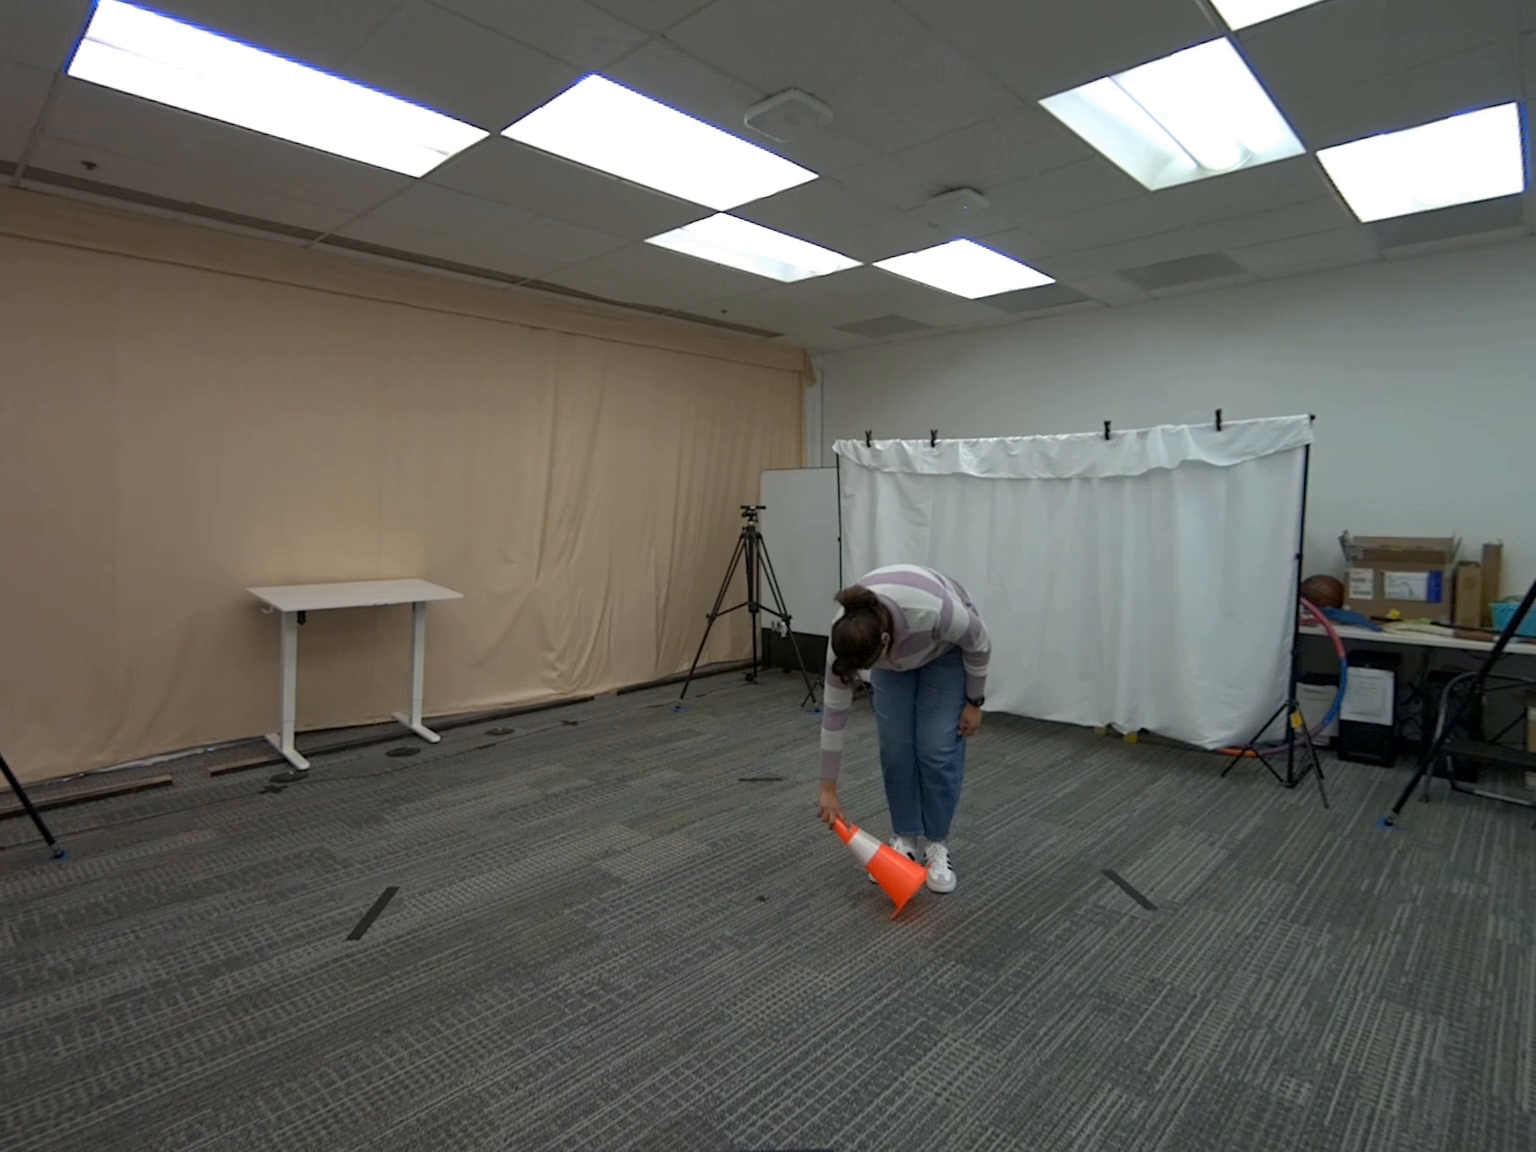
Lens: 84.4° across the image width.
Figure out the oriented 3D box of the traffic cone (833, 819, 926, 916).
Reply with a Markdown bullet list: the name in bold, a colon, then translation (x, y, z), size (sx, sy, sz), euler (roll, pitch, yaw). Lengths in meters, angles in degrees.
- **traffic cone**: translation (0.353, 0.950, 2.933), size (0.392, 0.205, 0.199), euler (39, 27, 17)
